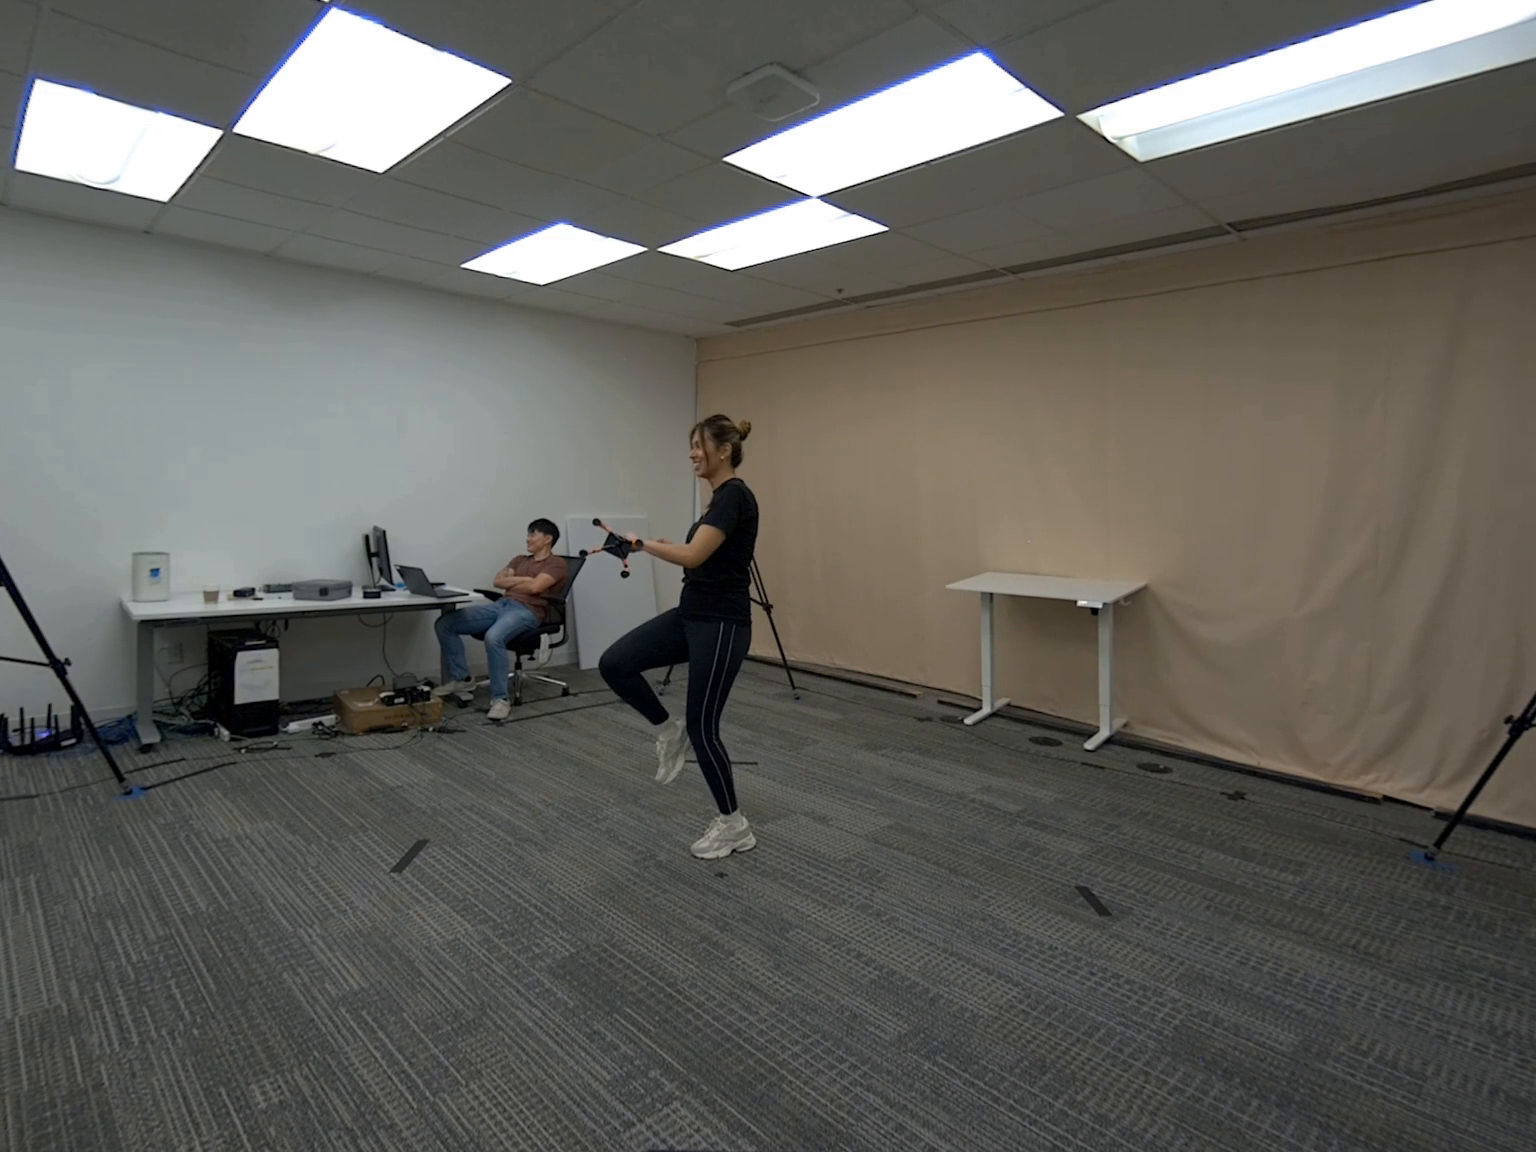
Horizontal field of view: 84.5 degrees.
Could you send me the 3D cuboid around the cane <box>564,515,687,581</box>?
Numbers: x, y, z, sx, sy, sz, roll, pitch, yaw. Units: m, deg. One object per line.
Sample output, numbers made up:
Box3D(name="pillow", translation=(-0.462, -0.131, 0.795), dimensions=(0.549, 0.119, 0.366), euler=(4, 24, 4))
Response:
Box3D(name="cane", translation=(-0.517, -0.112, 3.442), dimensions=(0.209, 0.151, 0.899), euler=(28, 6, 10))
